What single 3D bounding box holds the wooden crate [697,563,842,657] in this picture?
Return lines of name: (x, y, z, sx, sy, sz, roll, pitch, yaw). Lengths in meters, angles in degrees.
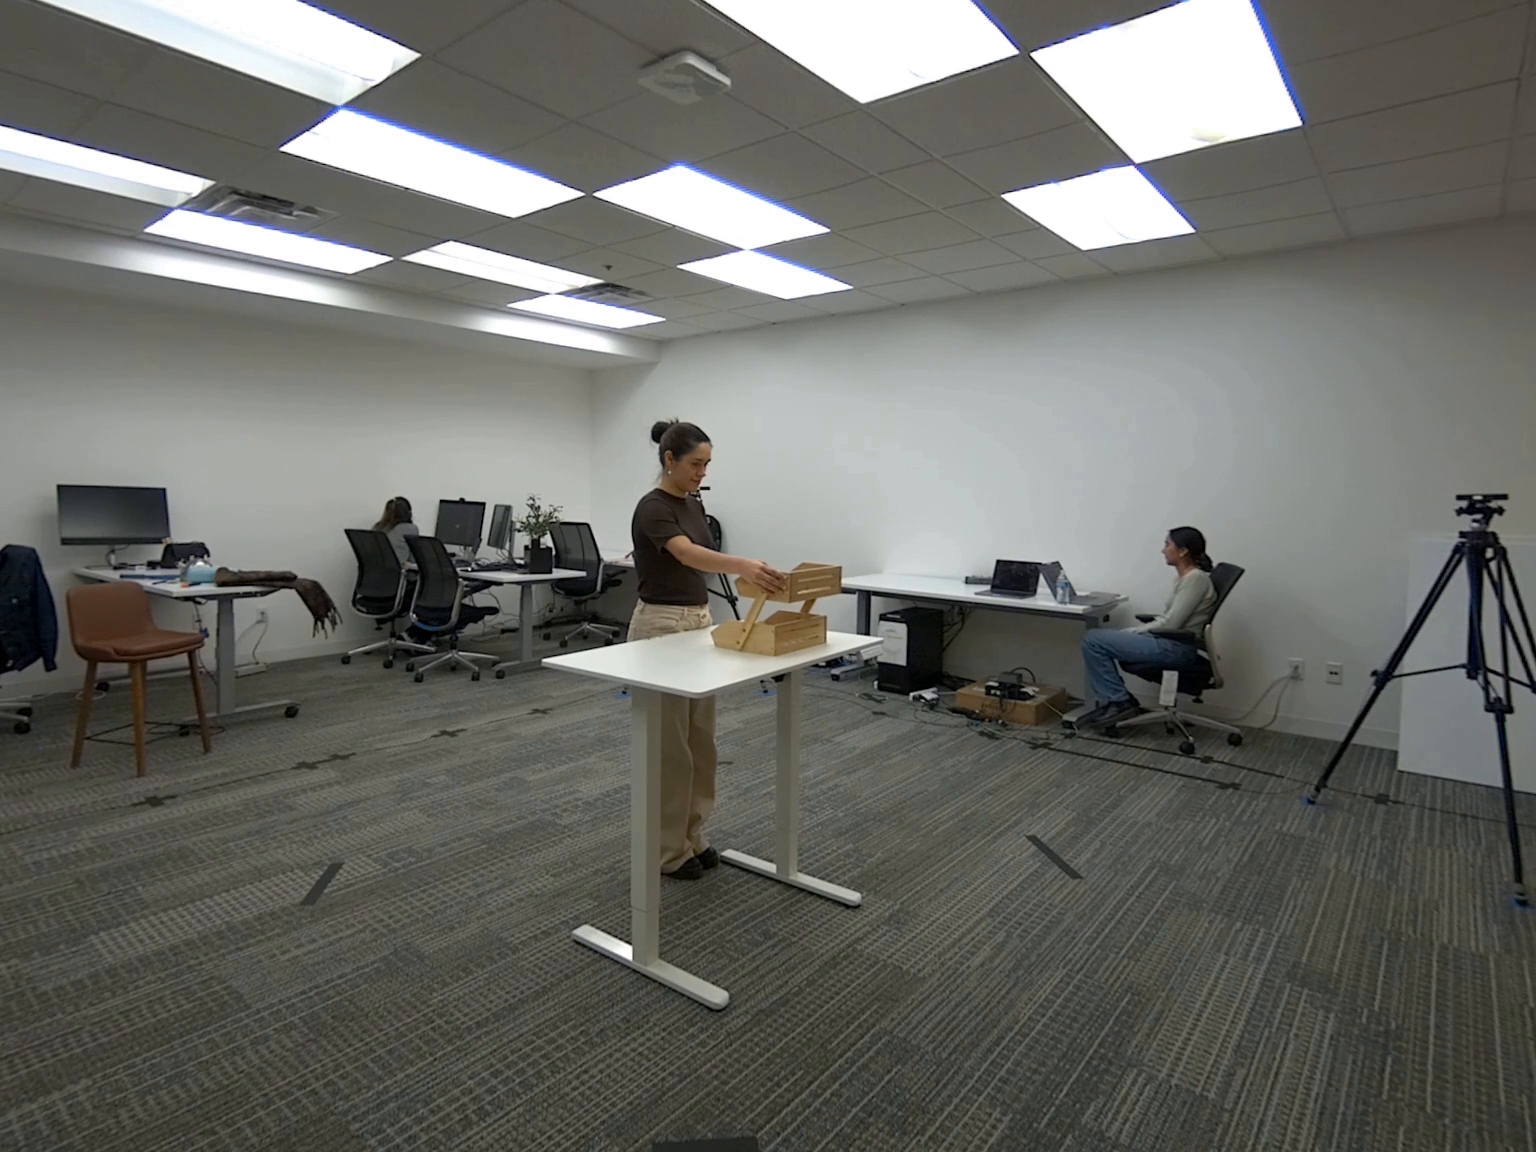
wooden crate: (0.019, 0.091, 2.736, 0.312, 0.272, 0.315, 5, 7, 36)
